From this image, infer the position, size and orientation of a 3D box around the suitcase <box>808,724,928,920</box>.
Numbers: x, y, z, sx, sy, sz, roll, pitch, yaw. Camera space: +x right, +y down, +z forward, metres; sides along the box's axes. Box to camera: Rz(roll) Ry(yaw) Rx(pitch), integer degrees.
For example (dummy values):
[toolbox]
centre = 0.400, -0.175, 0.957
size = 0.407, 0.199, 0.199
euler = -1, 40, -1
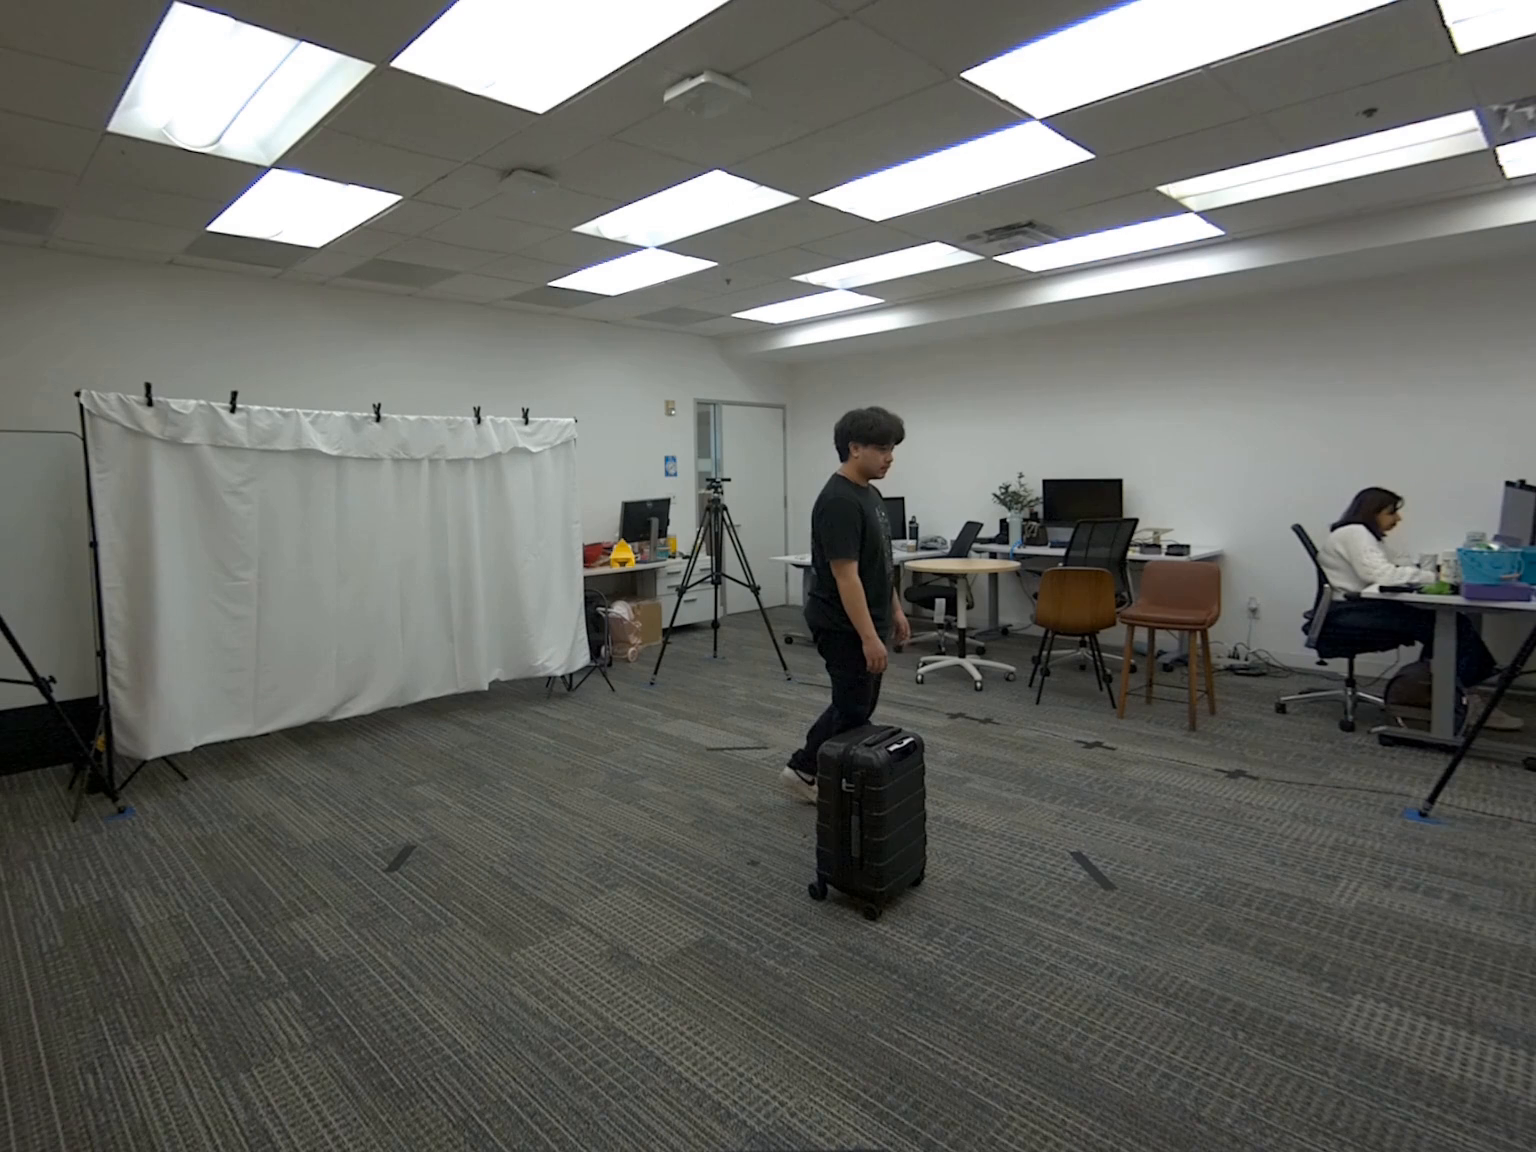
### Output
[suitcase]
centre = 0.347, 0.791, 2.846
size = 0.256, 0.547, 0.366
euler = 3, 6, 38
